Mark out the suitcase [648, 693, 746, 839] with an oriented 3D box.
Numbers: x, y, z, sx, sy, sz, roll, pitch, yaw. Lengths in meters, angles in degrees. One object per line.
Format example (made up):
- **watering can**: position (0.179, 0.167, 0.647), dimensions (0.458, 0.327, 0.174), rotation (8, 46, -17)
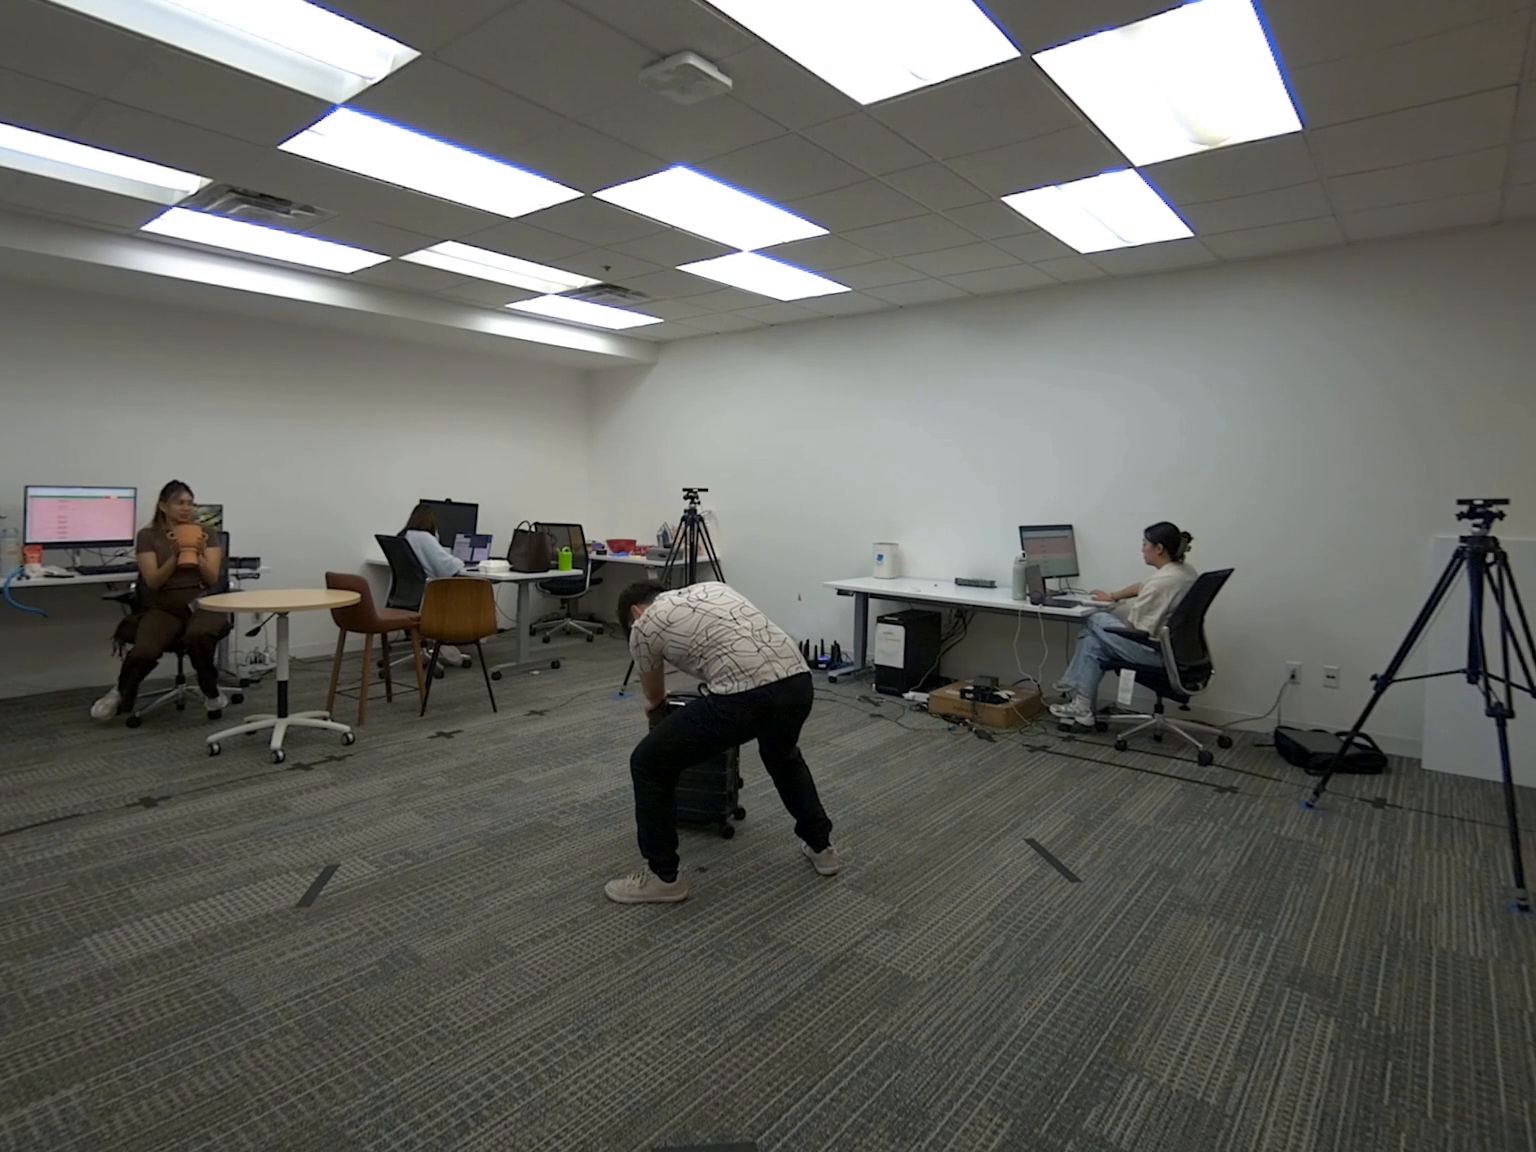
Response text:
- **suitcase**: position (-0.313, 0.753, 3.527), dimensions (0.382, 0.548, 0.245), rotation (1, 3, 15)
